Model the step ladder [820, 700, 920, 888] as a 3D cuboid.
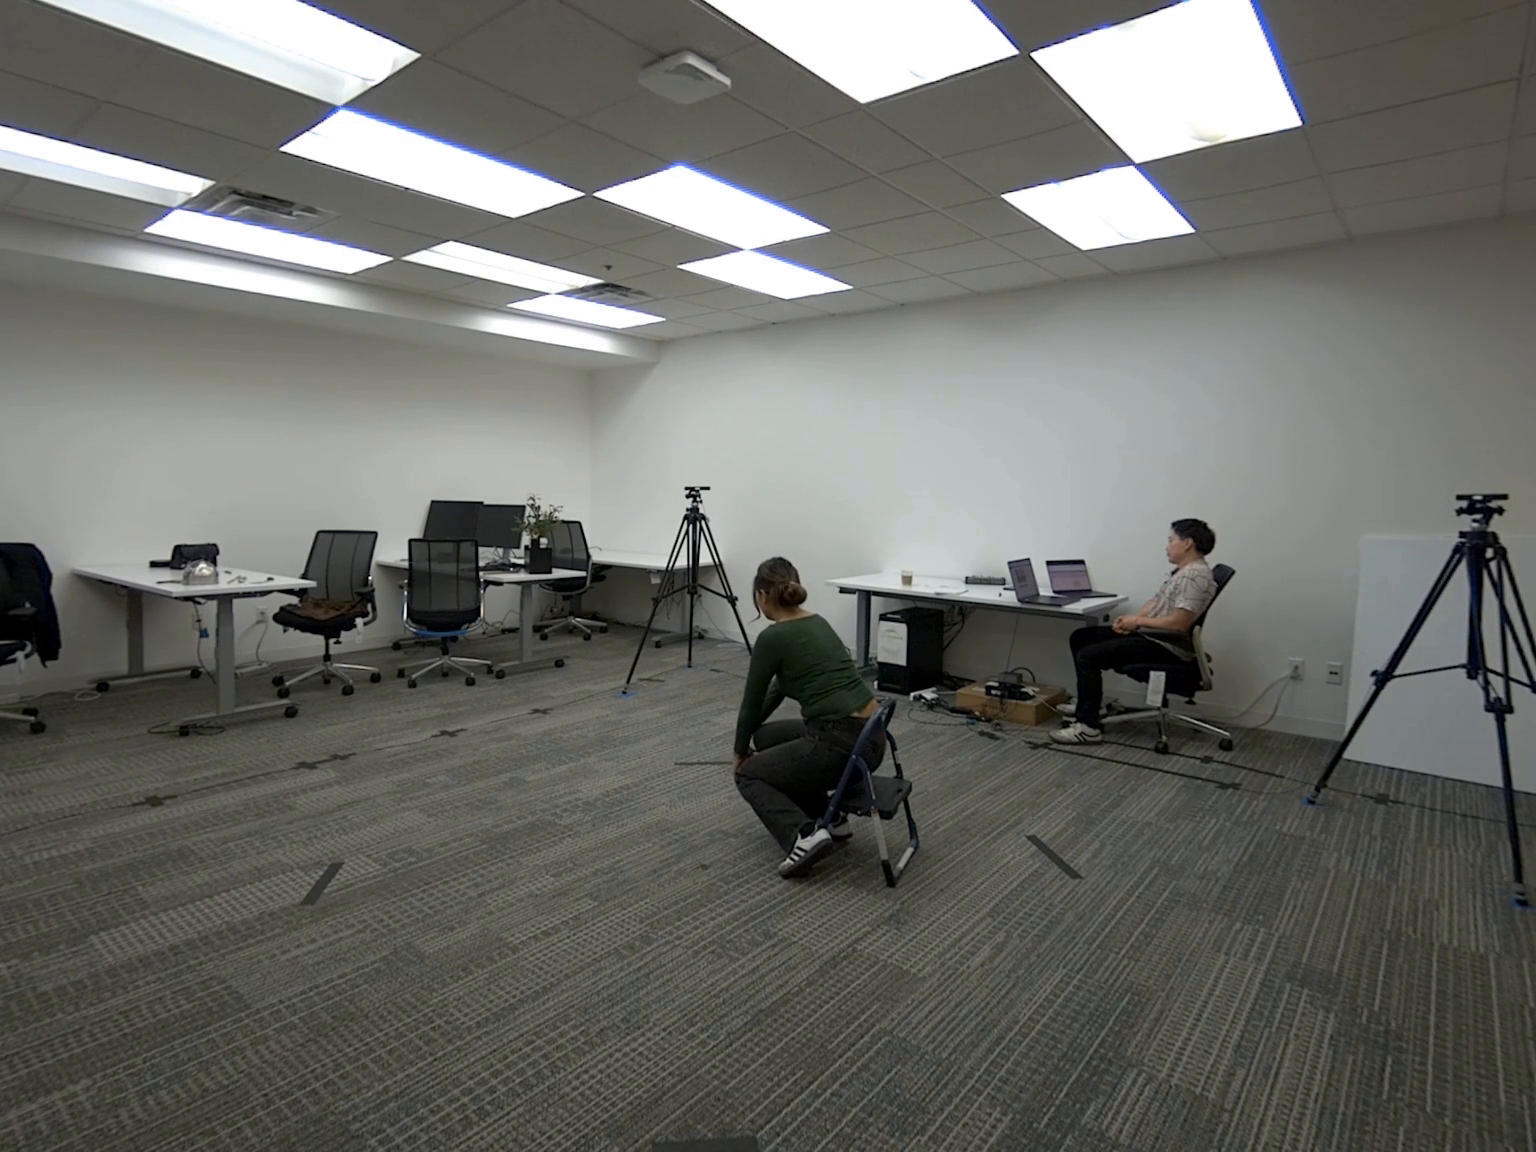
[{"bbox_3d":[0.361,0.763,3.214,0.358,0.604,0.422,3,5,23],"label":"step ladder"}]
